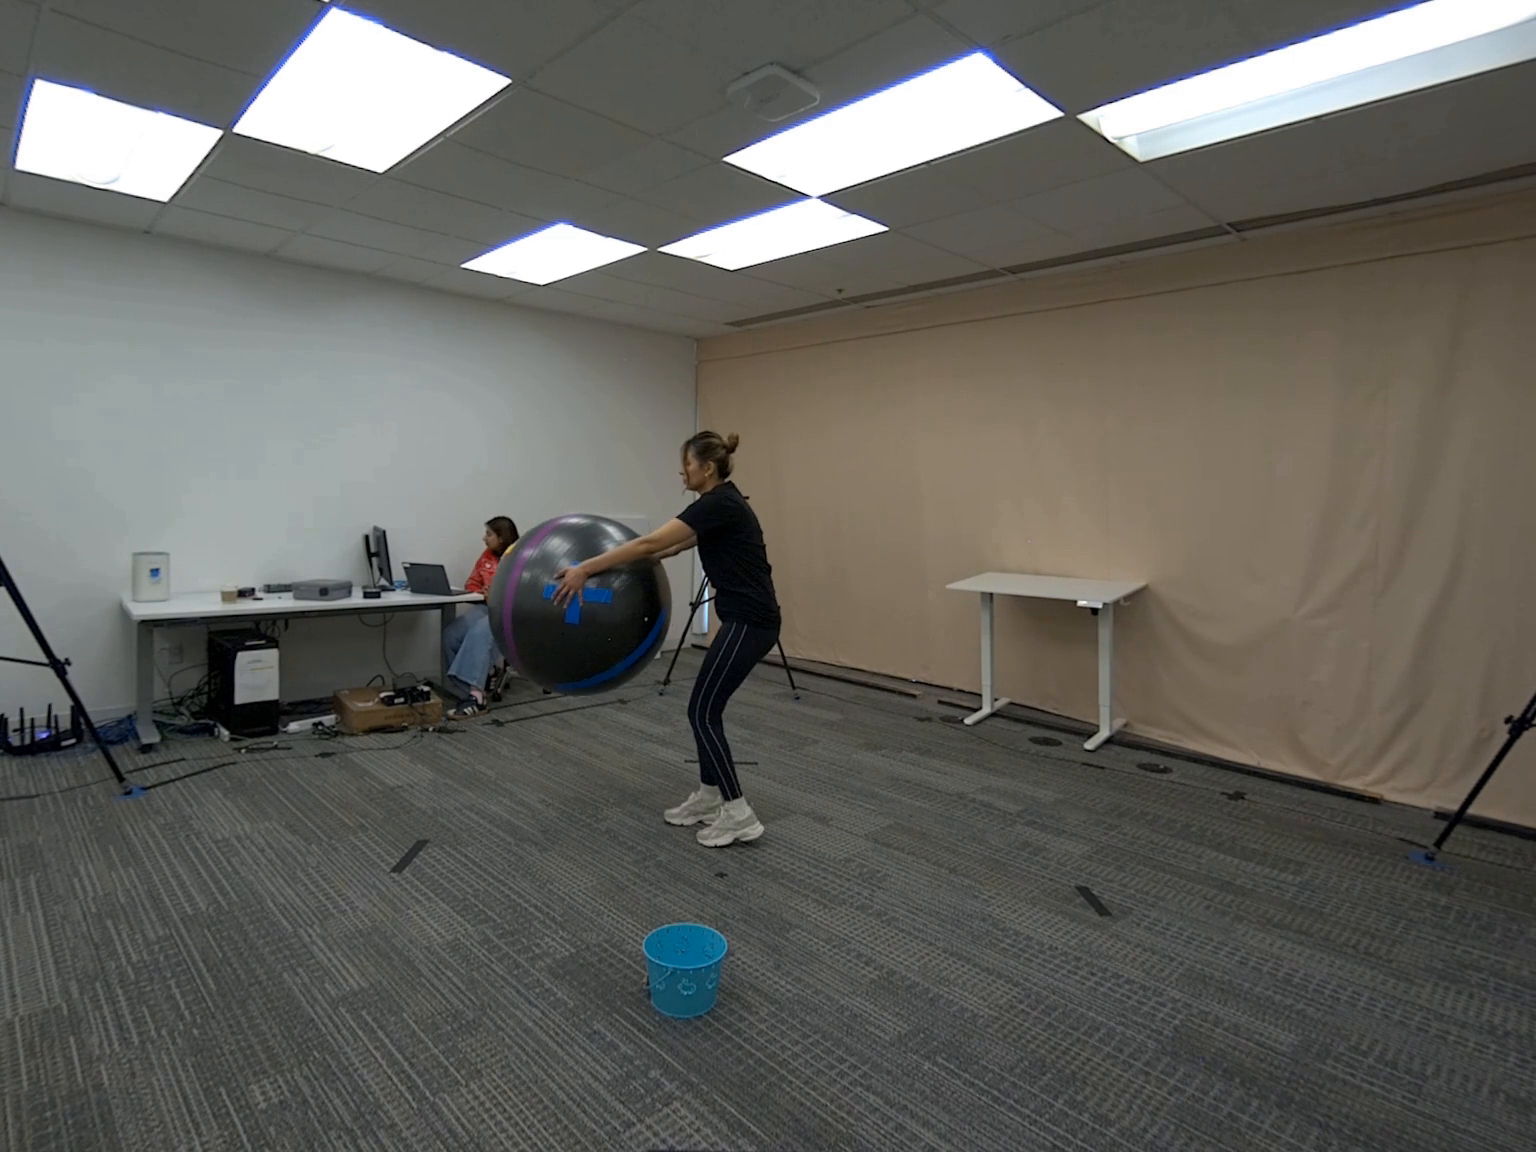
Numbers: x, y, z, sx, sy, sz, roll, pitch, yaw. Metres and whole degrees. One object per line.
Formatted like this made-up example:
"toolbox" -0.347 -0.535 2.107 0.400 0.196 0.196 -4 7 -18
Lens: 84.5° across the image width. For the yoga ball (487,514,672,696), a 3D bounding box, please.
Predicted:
"yoga ball" -0.787 0.131 3.522 0.757 0.756 0.761 1 4 -1
